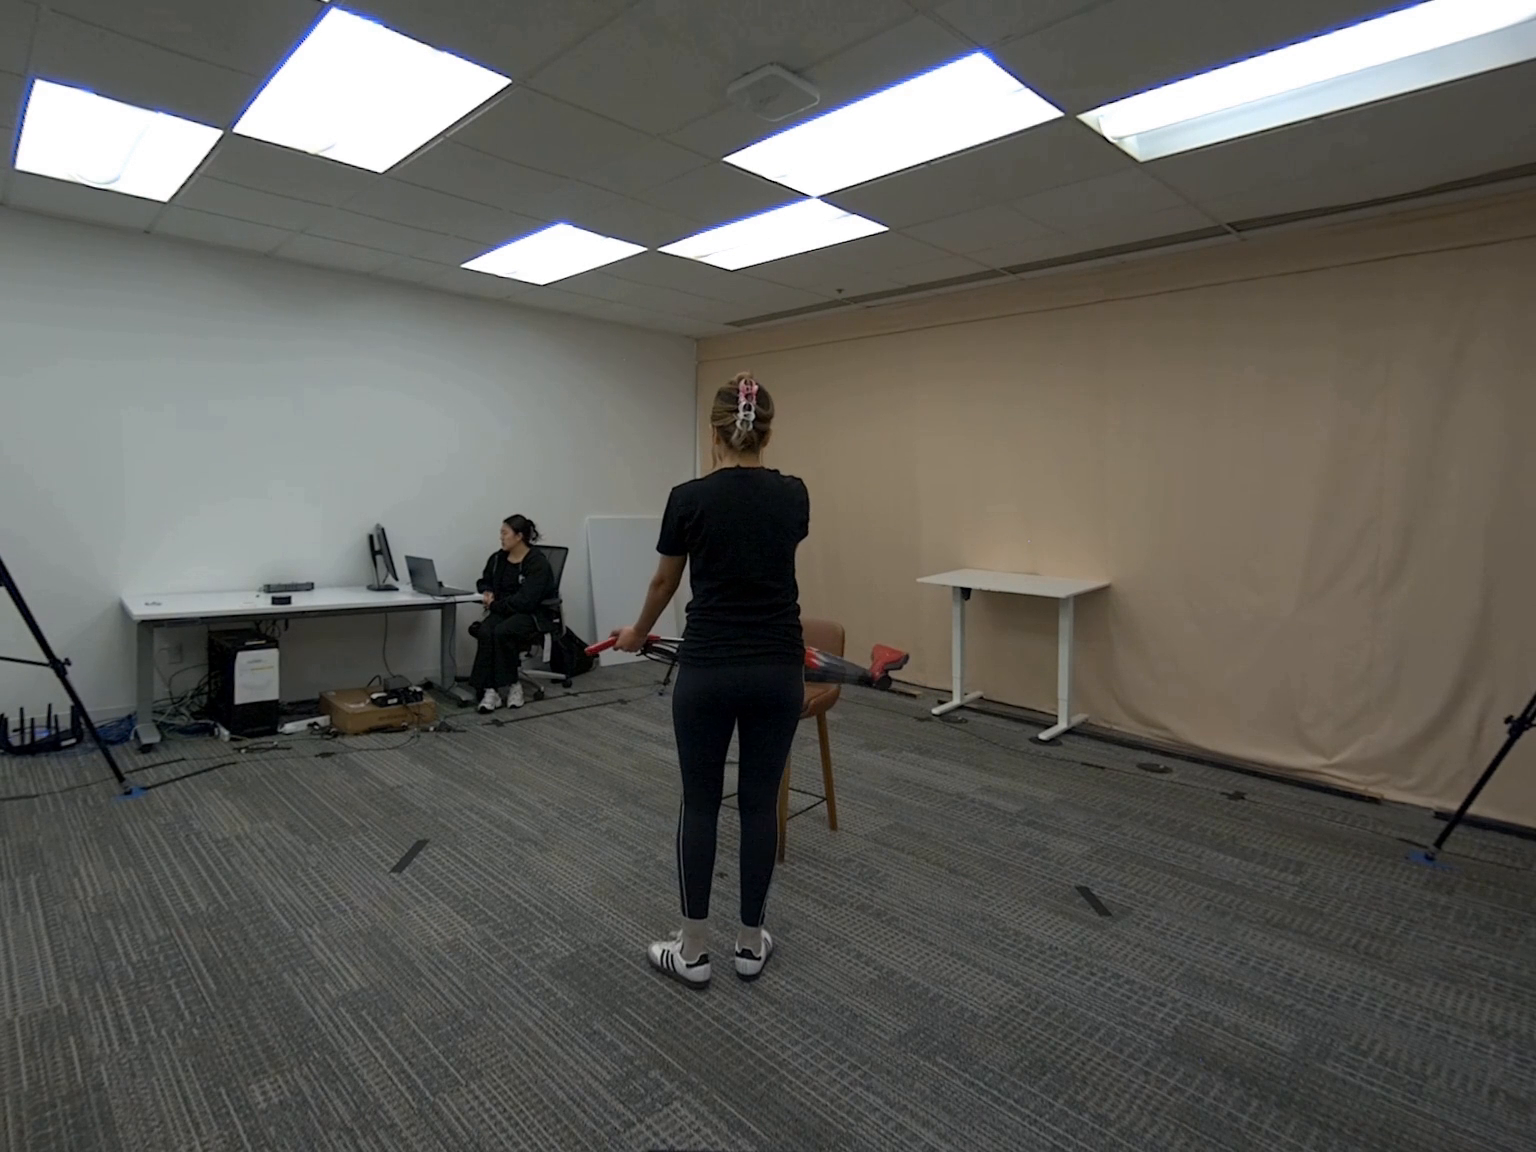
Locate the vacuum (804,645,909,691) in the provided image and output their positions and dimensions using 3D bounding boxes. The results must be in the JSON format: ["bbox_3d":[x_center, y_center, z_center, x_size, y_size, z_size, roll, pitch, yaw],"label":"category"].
[{"bbox_3d":[-0.079,0.294,2.833,1.037,0.144,0.256,4,3,-13],"label":"vacuum"}]
